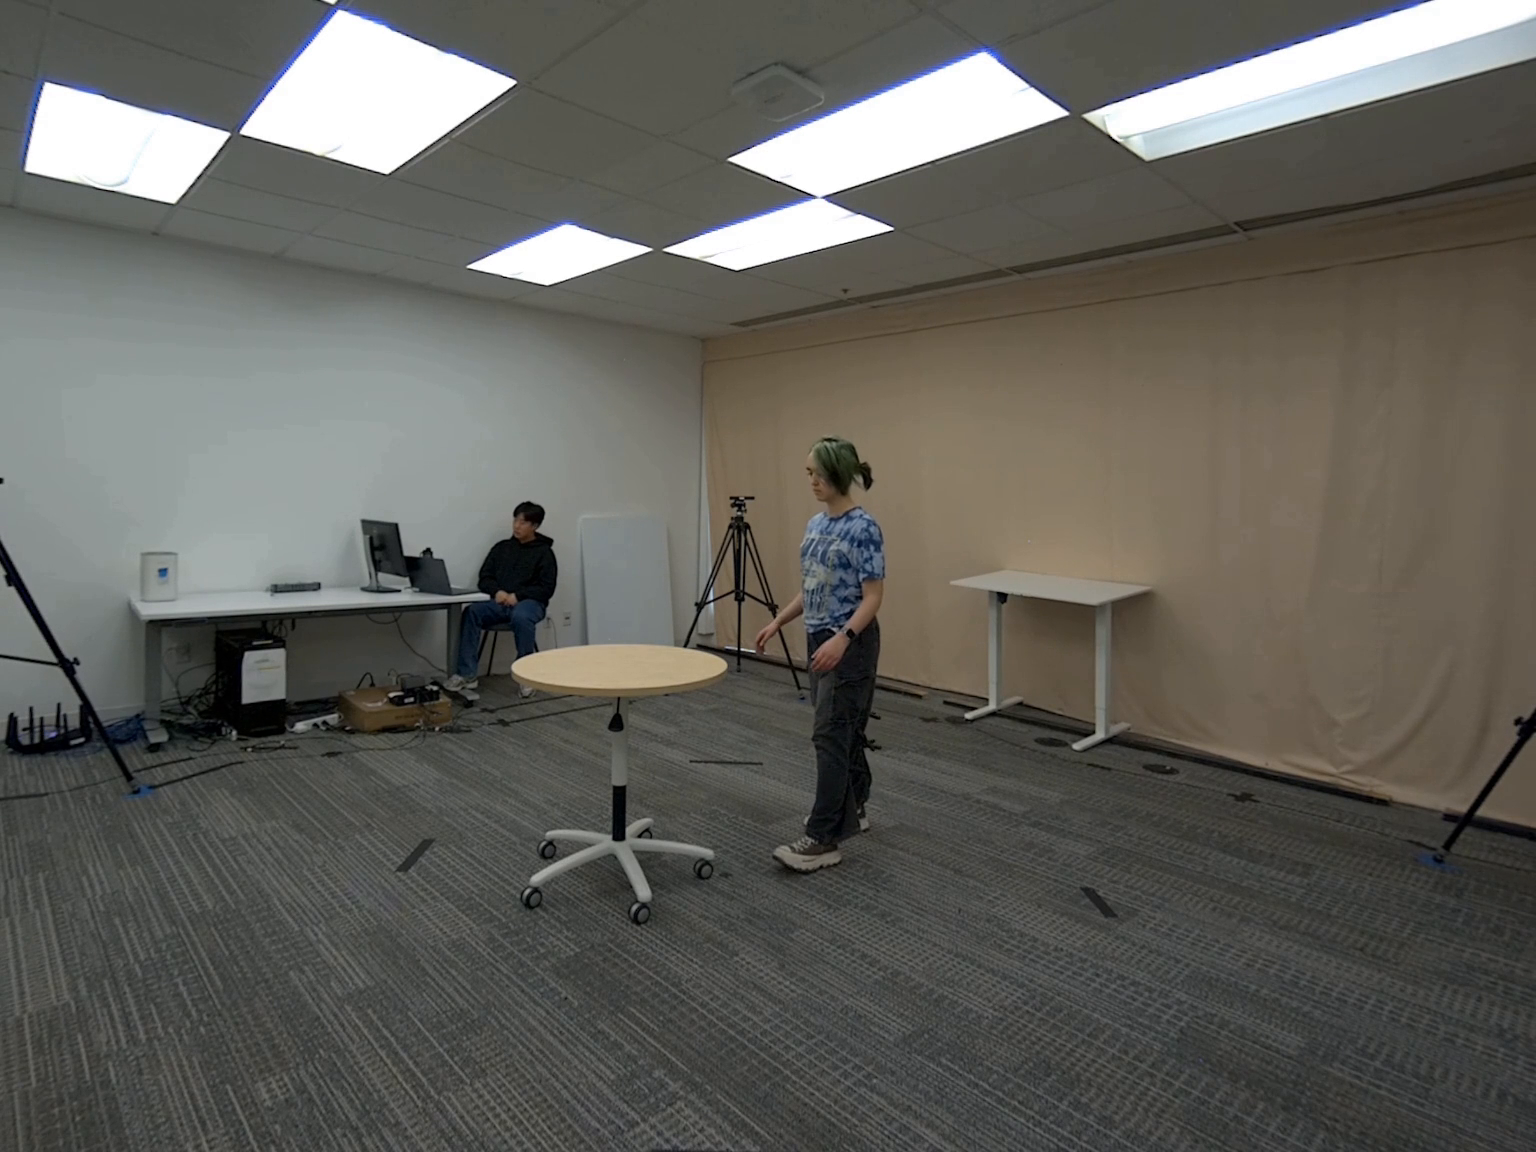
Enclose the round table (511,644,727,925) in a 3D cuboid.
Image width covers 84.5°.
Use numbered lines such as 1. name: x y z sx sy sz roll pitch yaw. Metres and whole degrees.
1. round table: -0.545 0.713 3.038 0.763 0.791 0.767 1 4 -1
